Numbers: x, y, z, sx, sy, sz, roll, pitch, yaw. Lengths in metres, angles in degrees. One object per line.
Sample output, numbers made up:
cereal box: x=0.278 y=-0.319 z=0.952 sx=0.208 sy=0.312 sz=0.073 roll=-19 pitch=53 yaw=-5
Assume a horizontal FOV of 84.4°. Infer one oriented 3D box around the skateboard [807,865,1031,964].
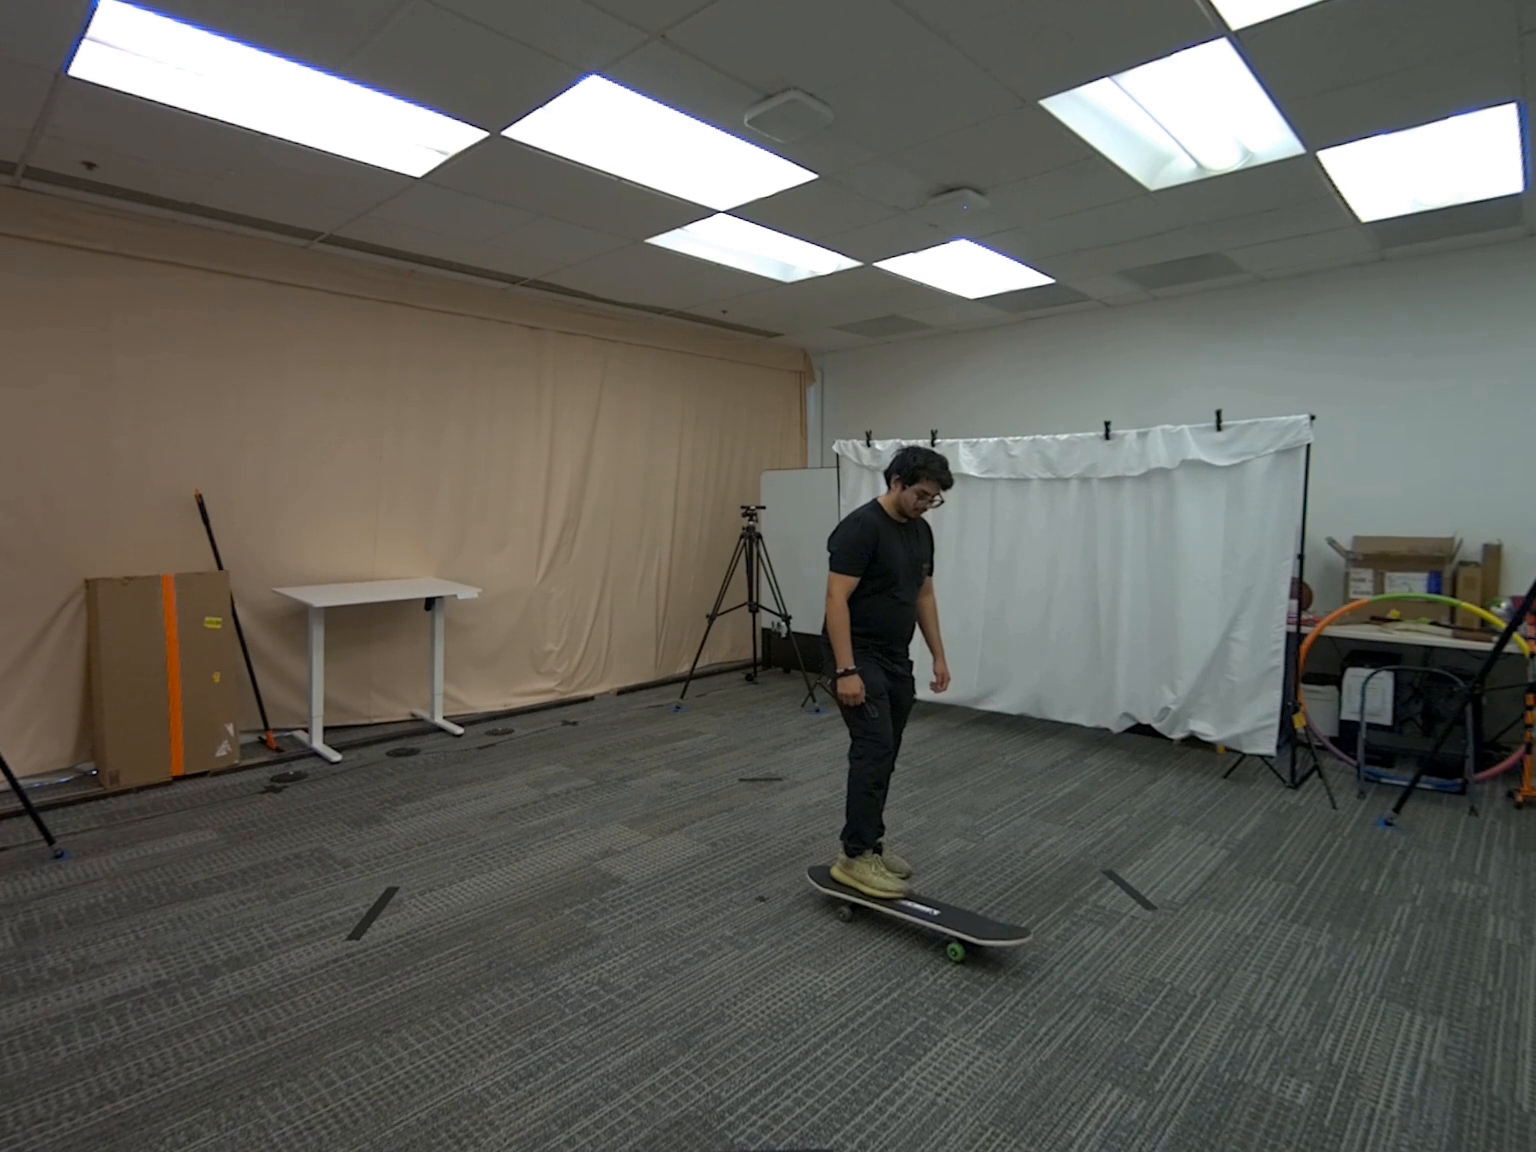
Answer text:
skateboard: x=0.475 y=1.106 z=2.745 sx=0.811 sy=0.110 sz=0.187 roll=2 pitch=0 yaw=41
